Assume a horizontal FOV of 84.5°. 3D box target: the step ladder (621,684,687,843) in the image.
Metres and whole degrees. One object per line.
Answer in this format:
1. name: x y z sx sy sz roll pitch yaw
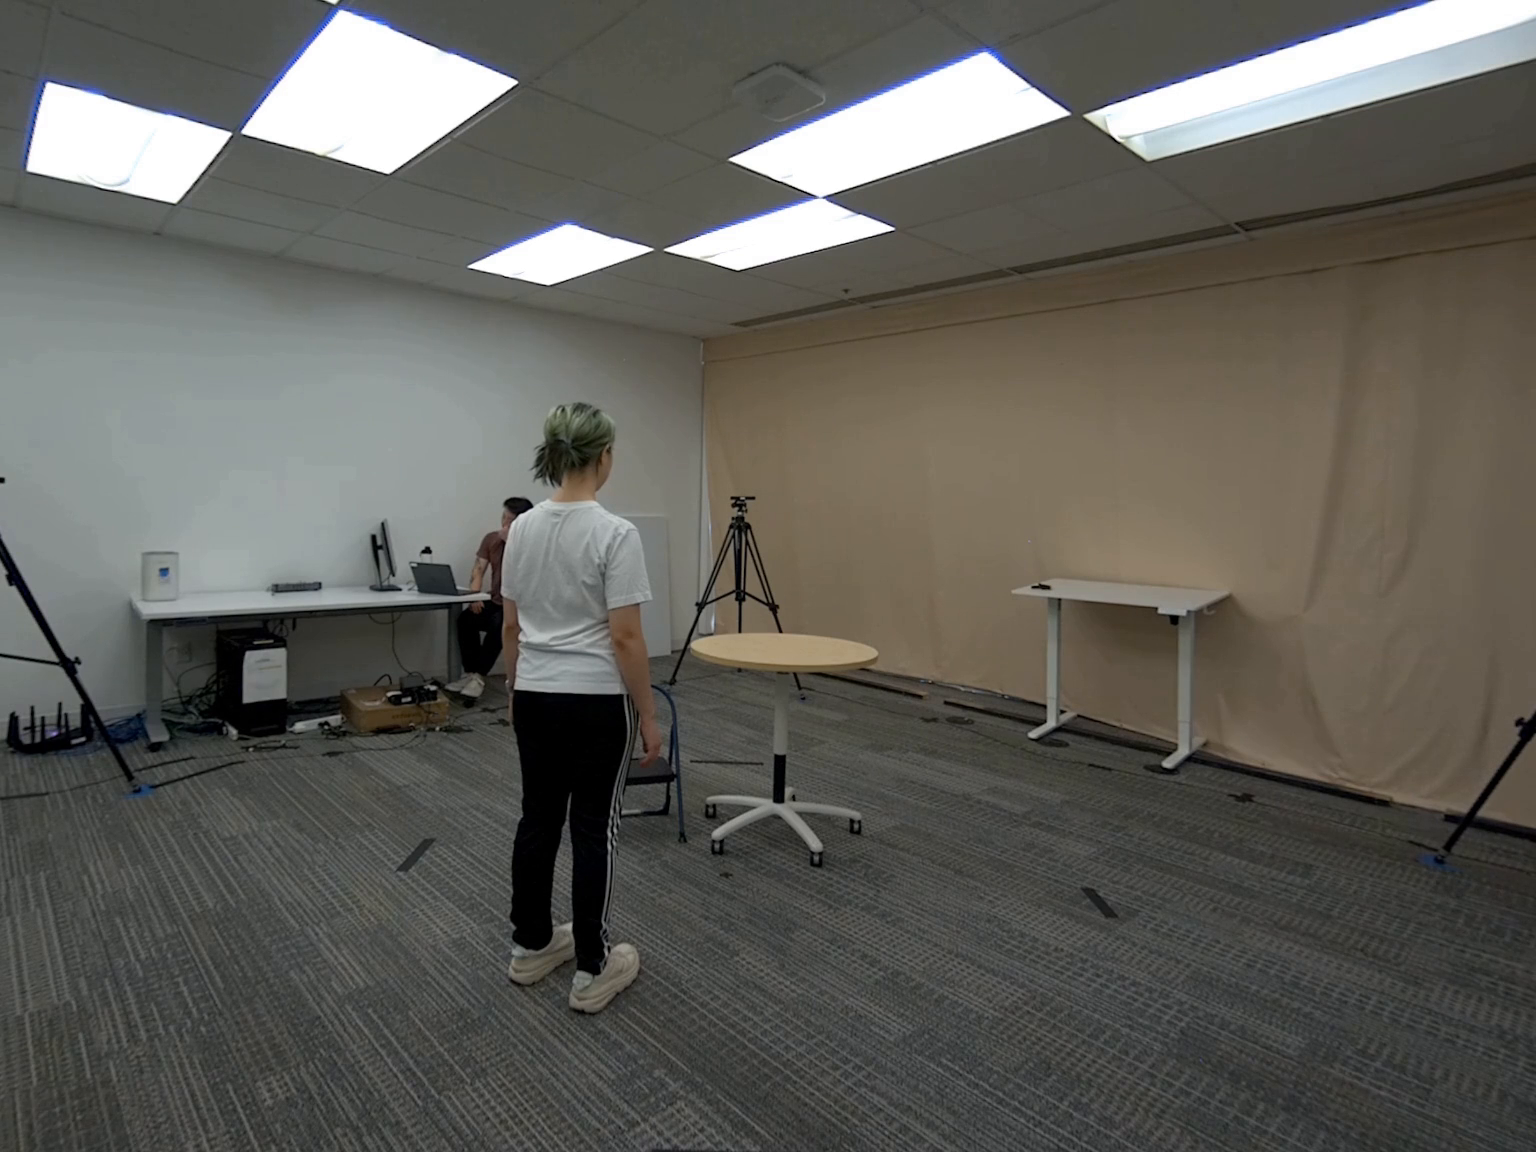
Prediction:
1. step ladder: -0.579 0.760 3.484 0.425 0.605 0.355 1 3 -18
